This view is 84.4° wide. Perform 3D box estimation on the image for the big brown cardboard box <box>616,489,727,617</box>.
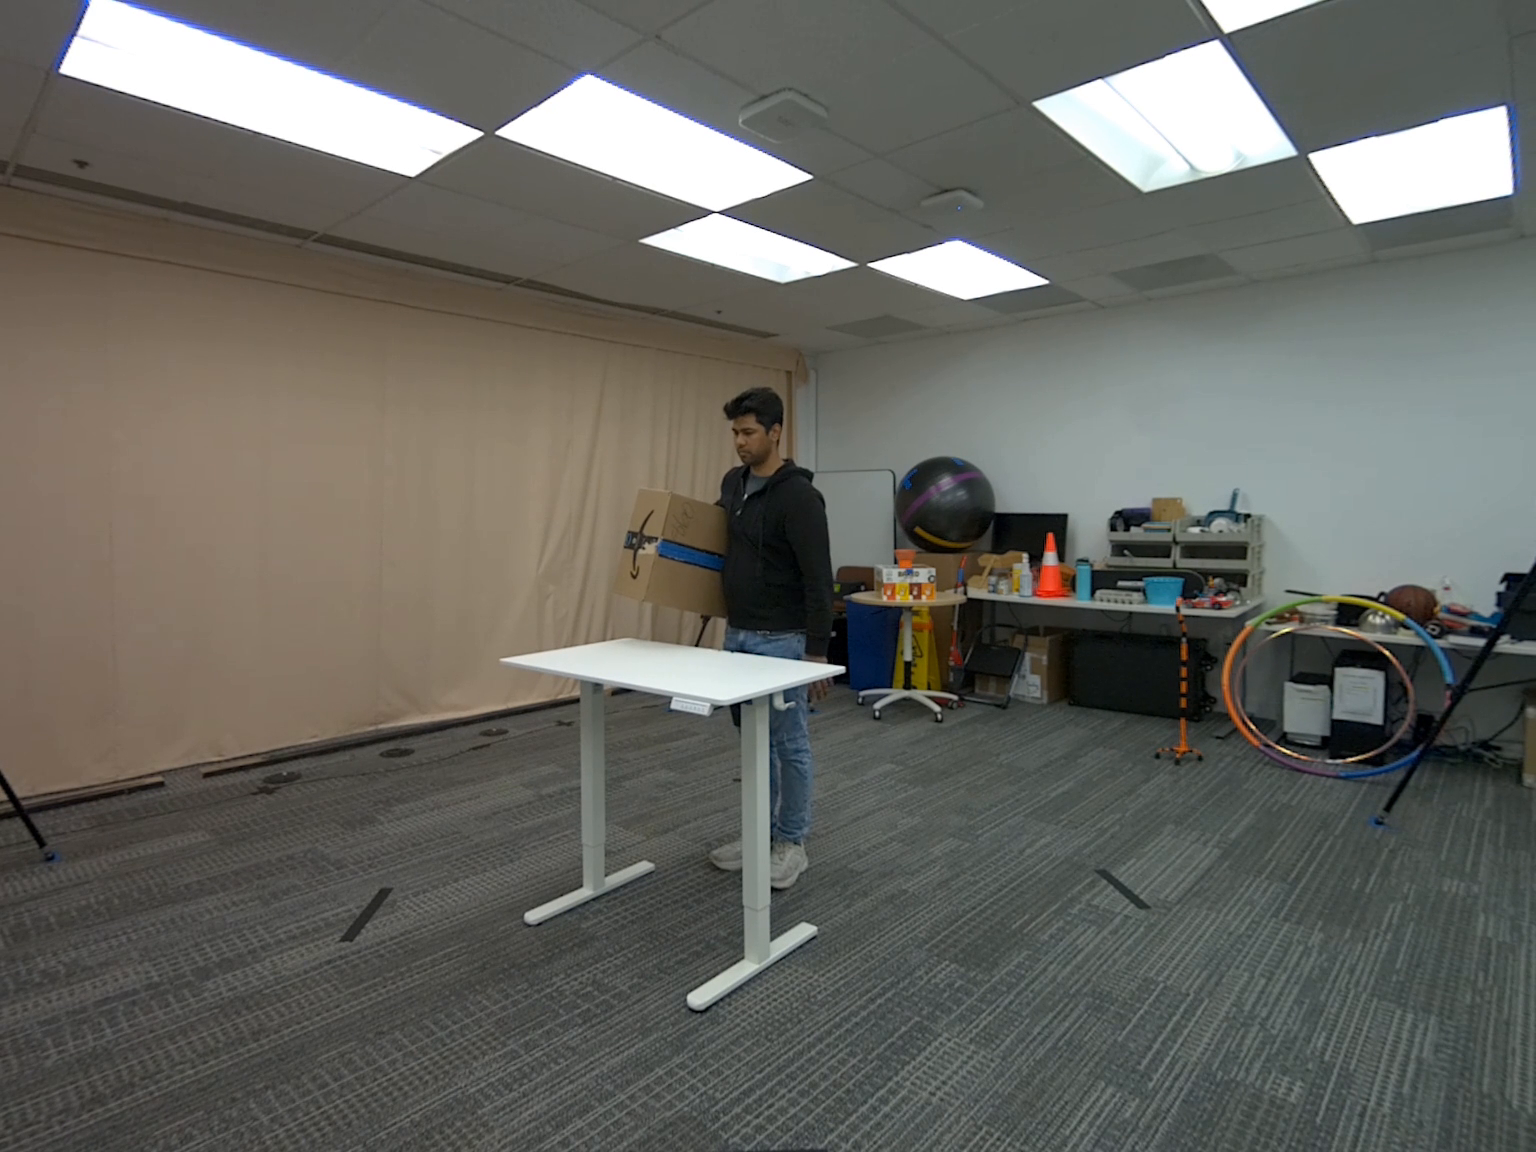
[{"bbox_3d":[-0.267,-0.064,3.316,0.568,0.418,0.241,15,-4,-40],"label":"big brown cardboard box"}]
